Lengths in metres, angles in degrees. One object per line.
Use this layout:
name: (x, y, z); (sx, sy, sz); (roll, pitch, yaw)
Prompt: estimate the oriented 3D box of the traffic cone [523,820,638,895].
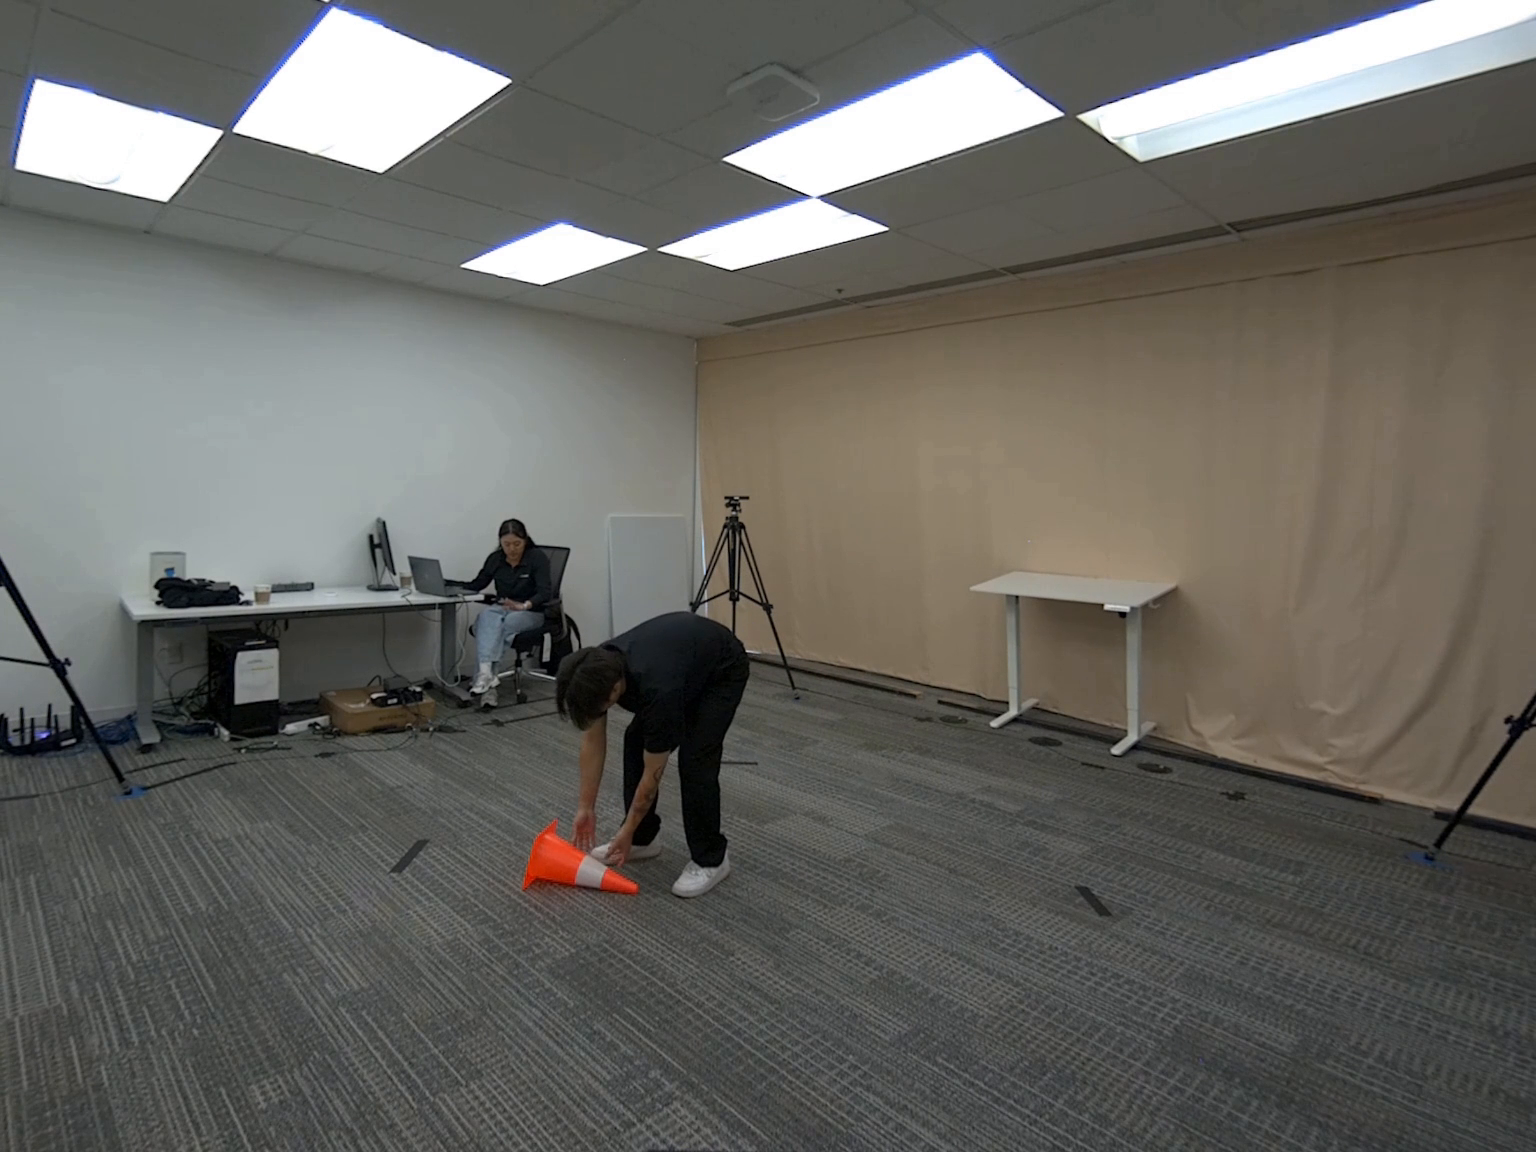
traffic cone: (-0.646, 1.052, 2.992); (0.387, 0.203, 0.204); (15, 6, 9)
